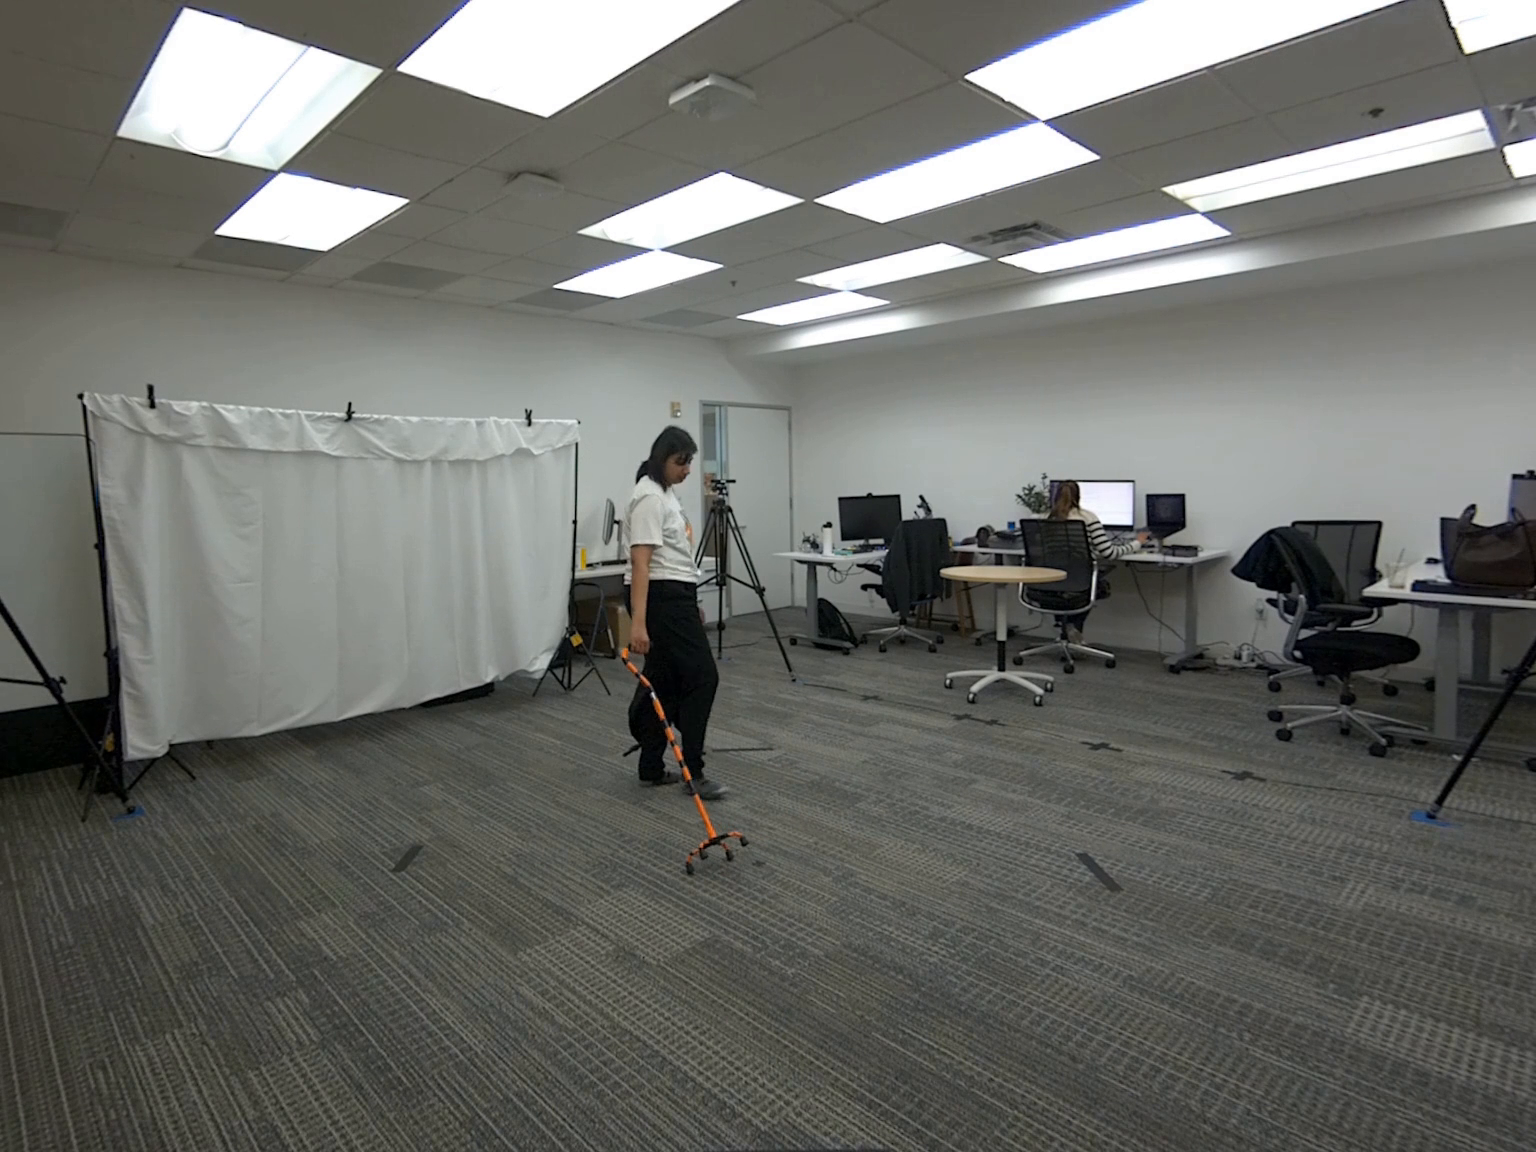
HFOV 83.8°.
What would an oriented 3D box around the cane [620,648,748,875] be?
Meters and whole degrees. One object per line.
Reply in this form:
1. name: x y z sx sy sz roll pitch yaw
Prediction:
1. cane: -0.365 0.652 3.270 0.201 0.938 0.150 -4 -38 -36
